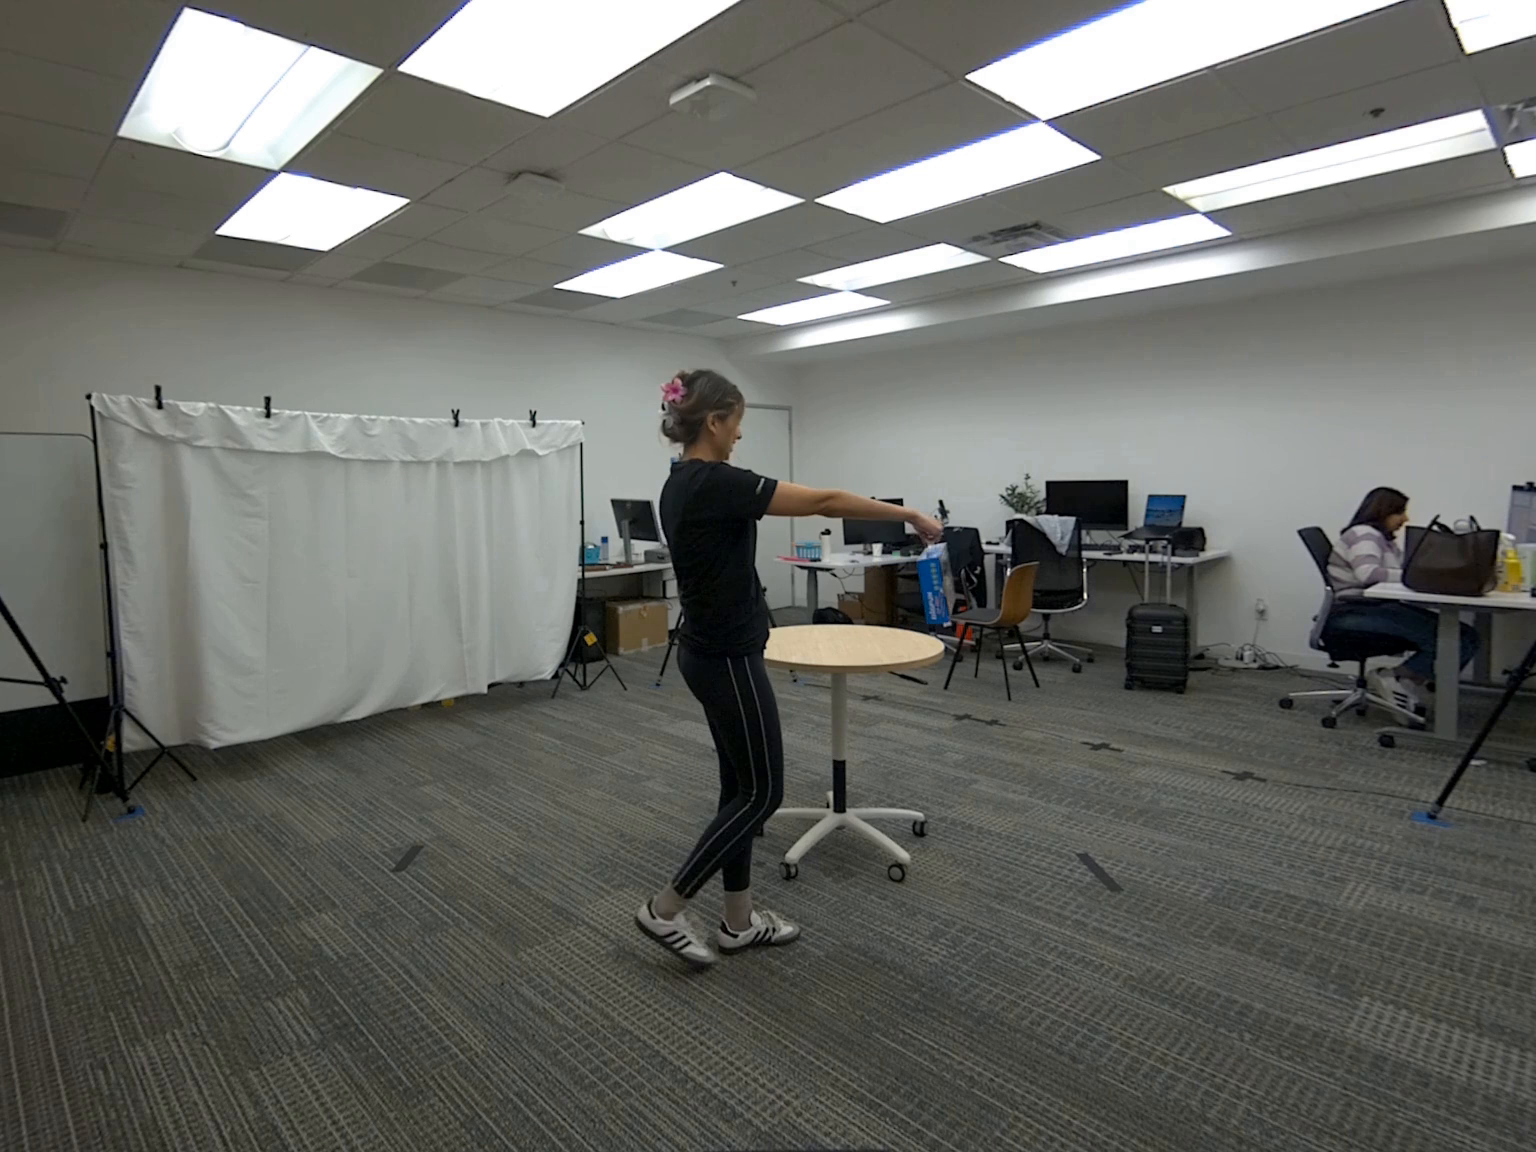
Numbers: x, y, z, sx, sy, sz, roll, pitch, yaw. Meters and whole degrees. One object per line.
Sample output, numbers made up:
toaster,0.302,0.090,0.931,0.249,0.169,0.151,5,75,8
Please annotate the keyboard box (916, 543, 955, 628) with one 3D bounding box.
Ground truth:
keyboard box,0.474,0.017,2.415,0.060,0.175,0.432,-8,5,15
